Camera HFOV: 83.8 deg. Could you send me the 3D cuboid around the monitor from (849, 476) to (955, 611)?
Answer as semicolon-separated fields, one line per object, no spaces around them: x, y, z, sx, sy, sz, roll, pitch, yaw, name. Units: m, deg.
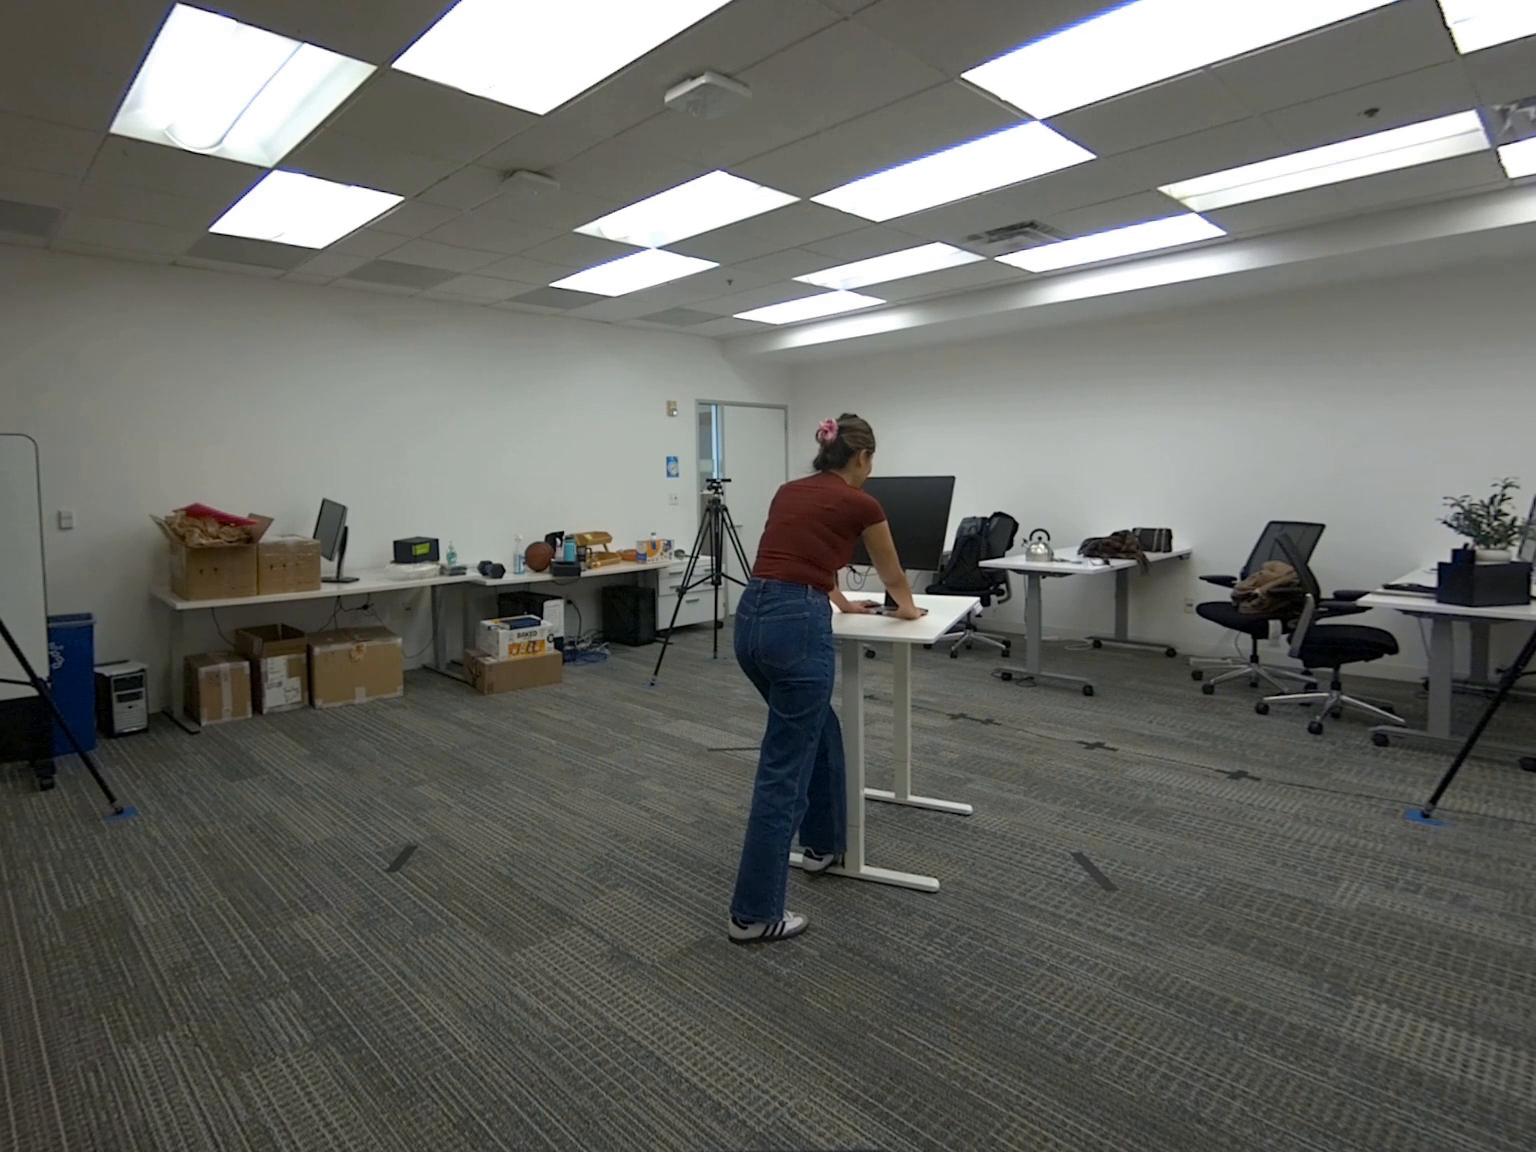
0.479;-0.112;3.254;0.556;0.522;0.182;5;3;43;monitor
